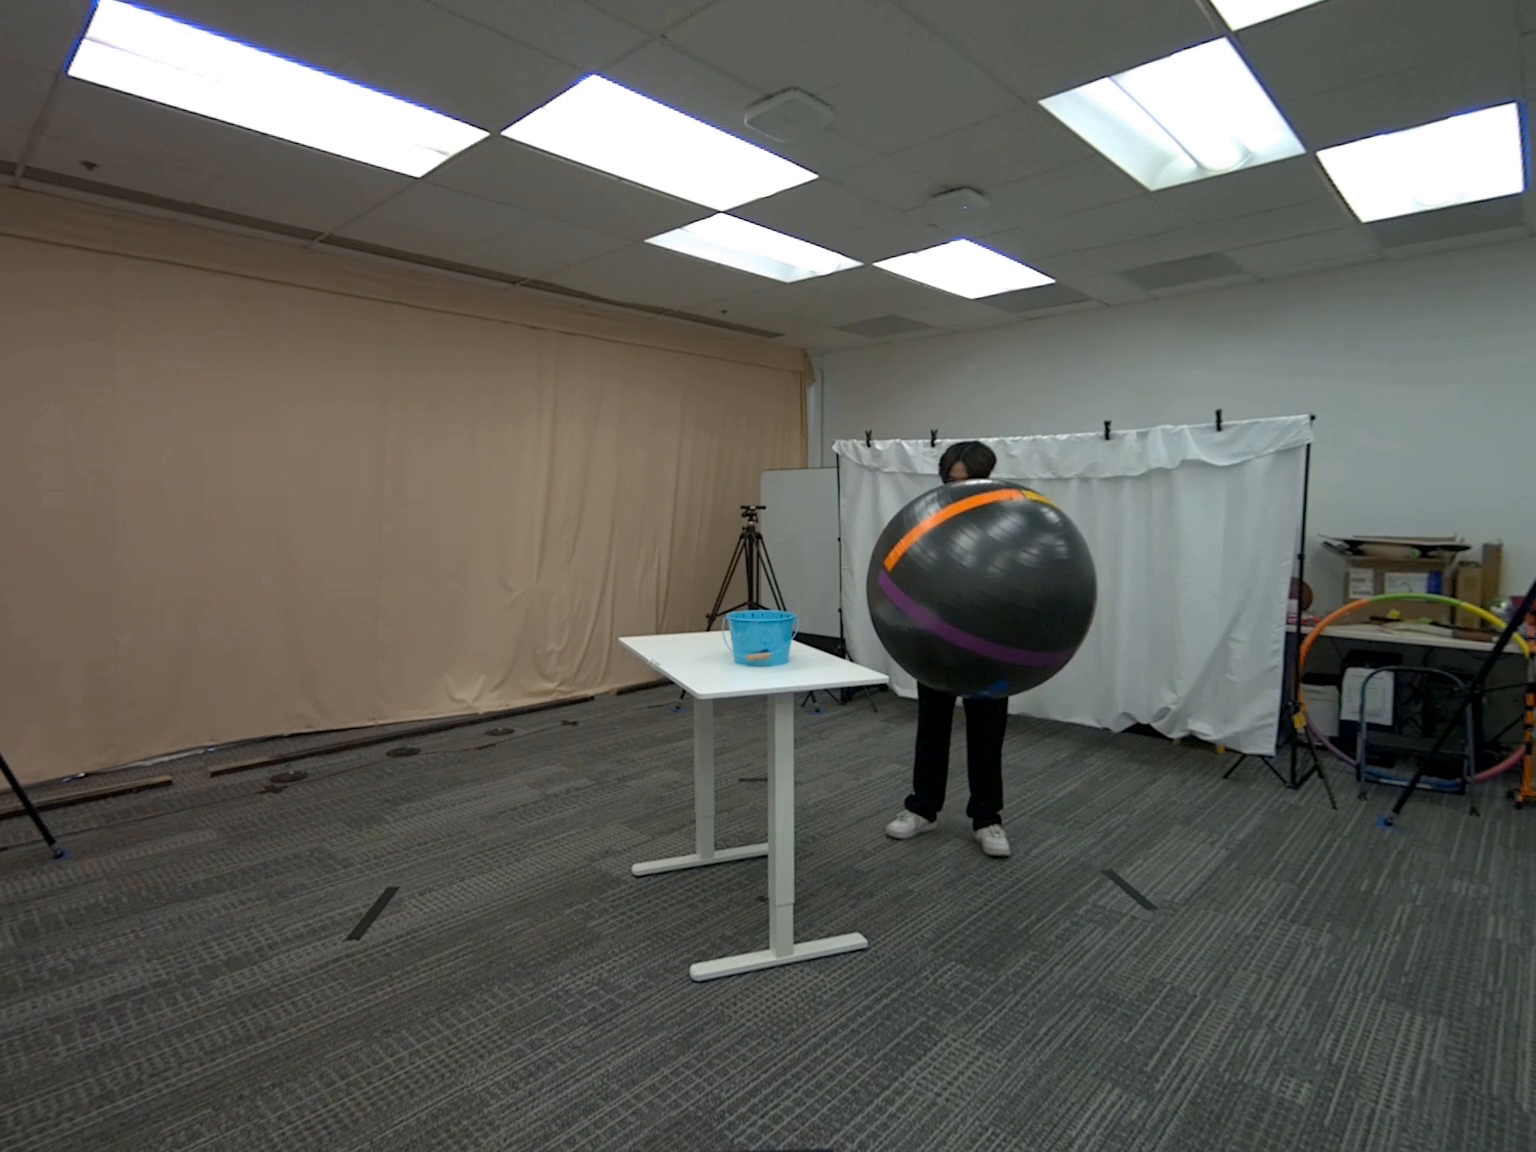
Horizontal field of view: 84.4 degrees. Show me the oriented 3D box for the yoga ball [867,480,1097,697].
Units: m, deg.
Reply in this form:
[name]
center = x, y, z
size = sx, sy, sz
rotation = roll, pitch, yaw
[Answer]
[yoga ball]
center = 0.733, 0.048, 2.919
size = 0.757, 0.756, 0.760
rotation = 0, 4, -2
